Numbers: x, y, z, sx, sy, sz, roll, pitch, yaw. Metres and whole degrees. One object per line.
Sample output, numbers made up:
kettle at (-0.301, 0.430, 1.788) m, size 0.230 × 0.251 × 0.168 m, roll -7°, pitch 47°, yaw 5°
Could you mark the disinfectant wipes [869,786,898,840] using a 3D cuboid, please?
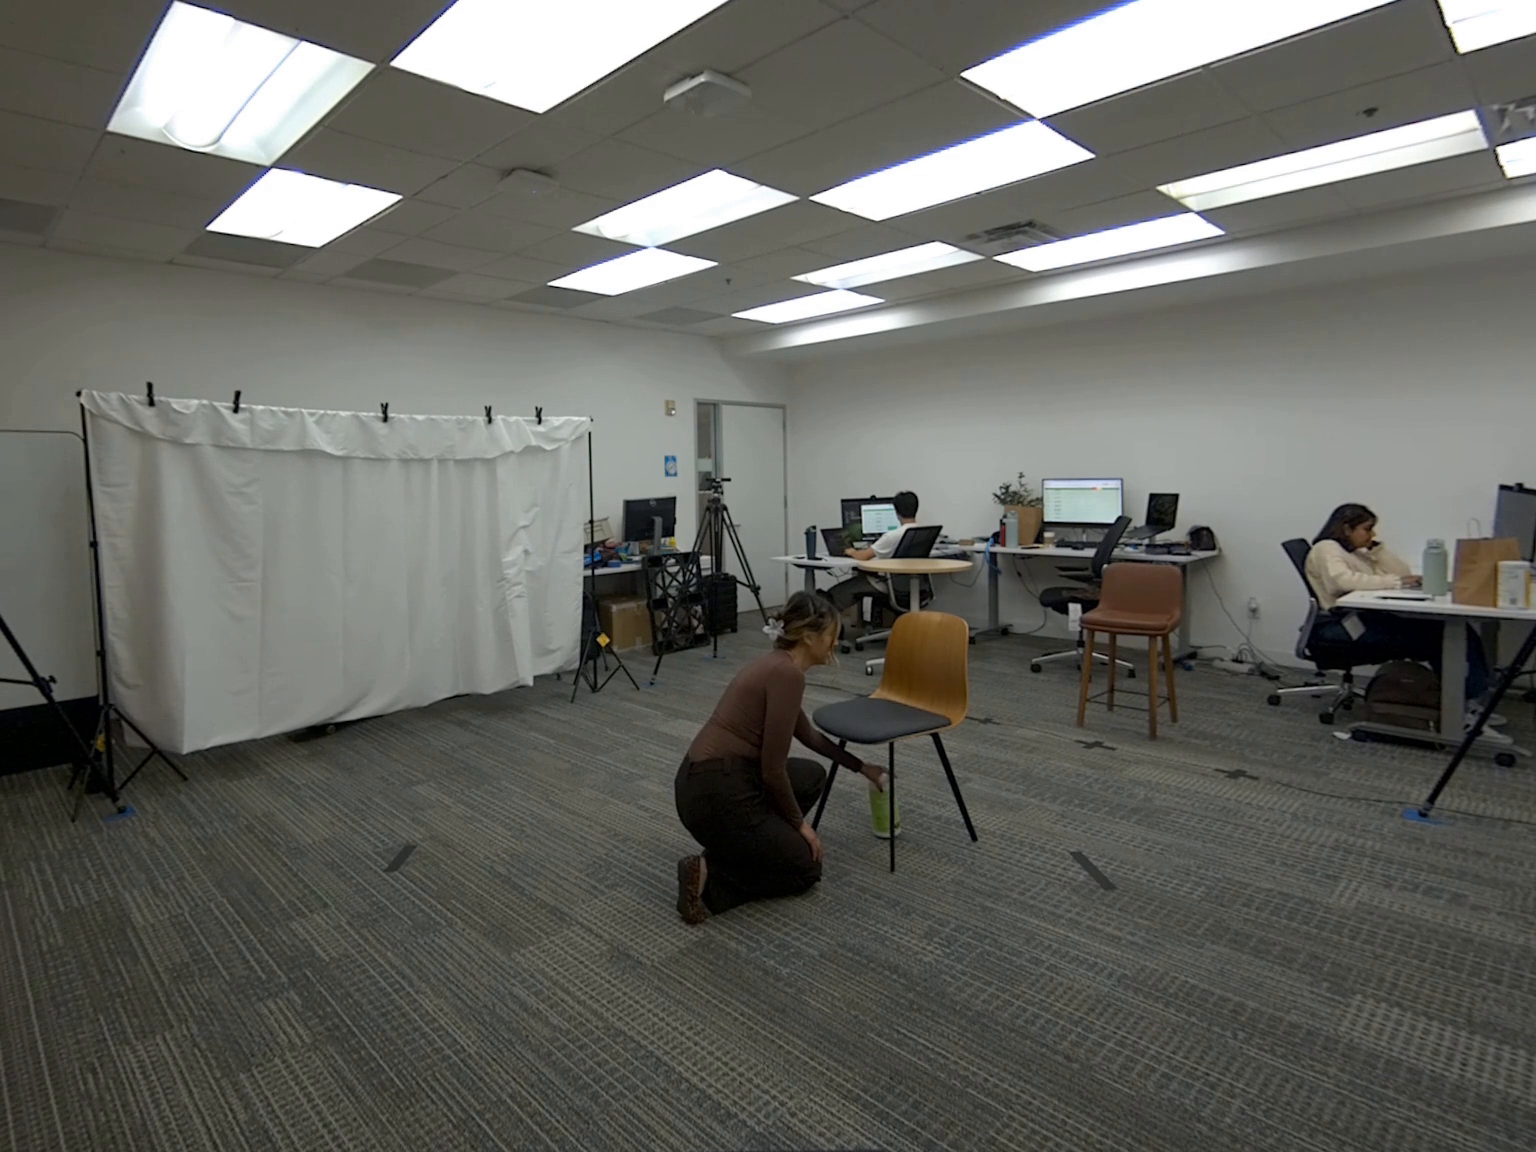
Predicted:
disinfectant wipes at (0.455, 0.900, 3.311) m, size 0.118 × 0.216 × 0.118 m, roll -7°, pitch 5°, yaw -1°
